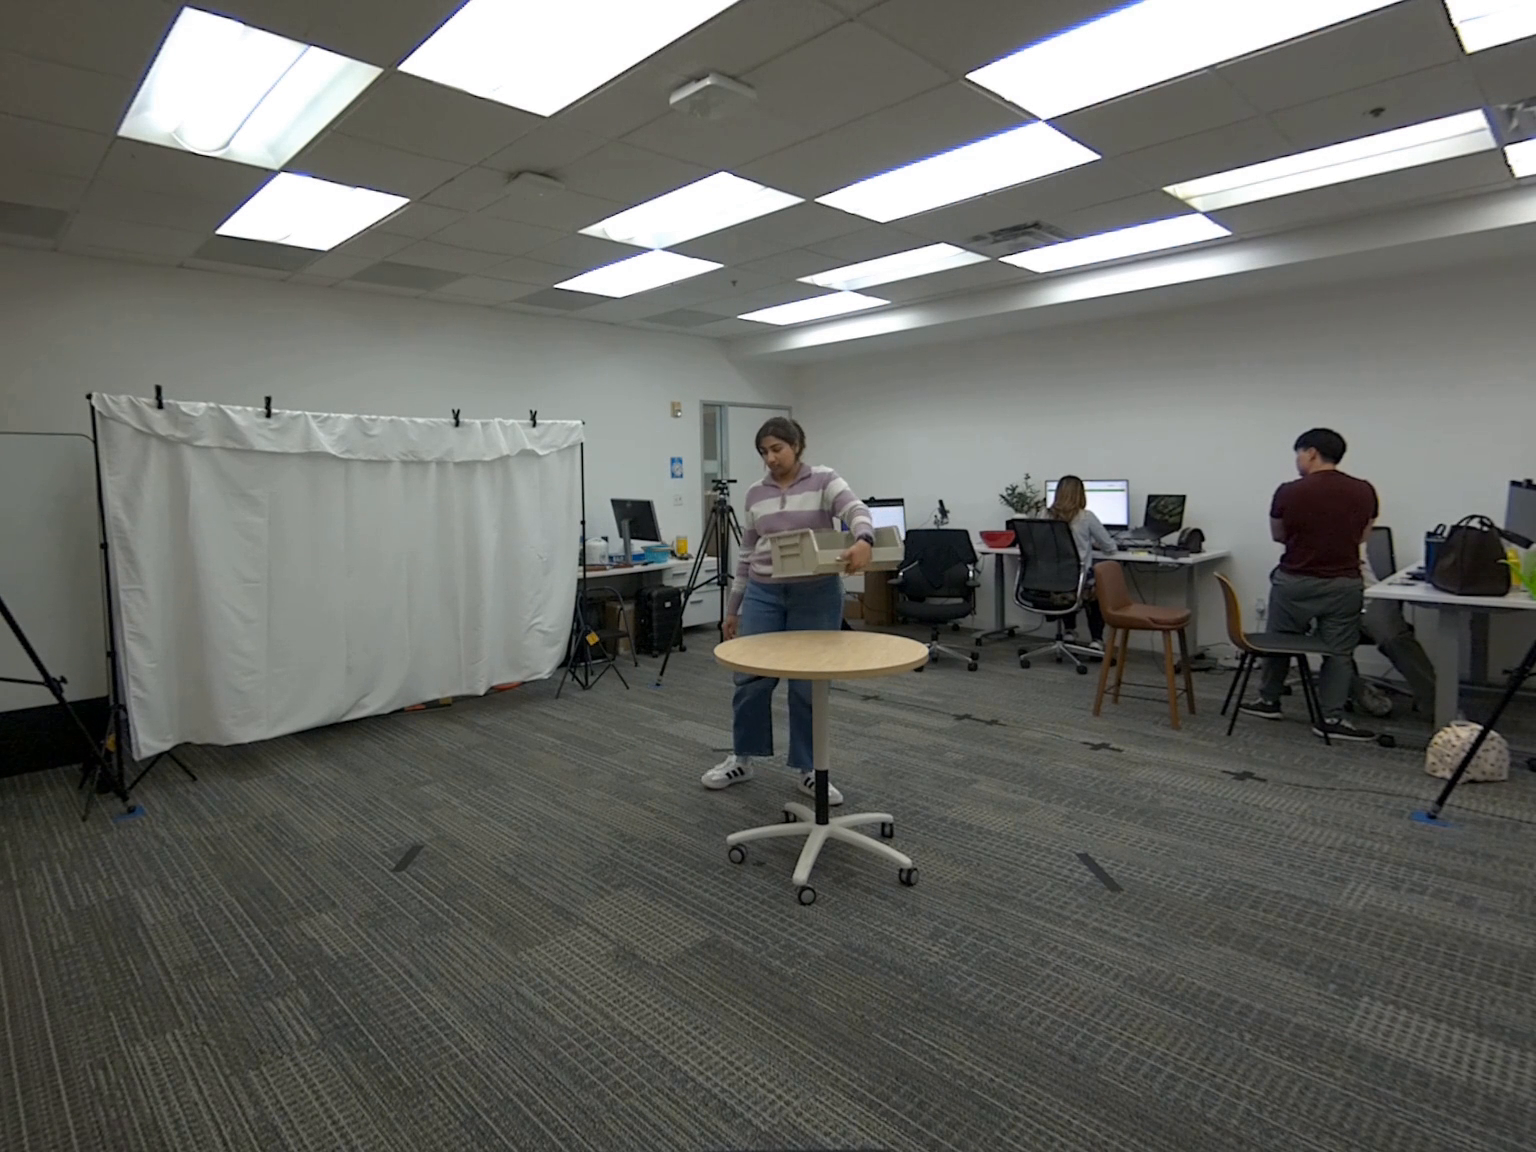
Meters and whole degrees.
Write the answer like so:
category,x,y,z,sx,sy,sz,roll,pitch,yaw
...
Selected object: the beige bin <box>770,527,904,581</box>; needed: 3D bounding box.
category,x,y,z,sx,sy,sz,roll,pitch,yaw
beige bin,0.267,-0.096,3.485,0.413,0.189,0.385,-4,-1,-28
